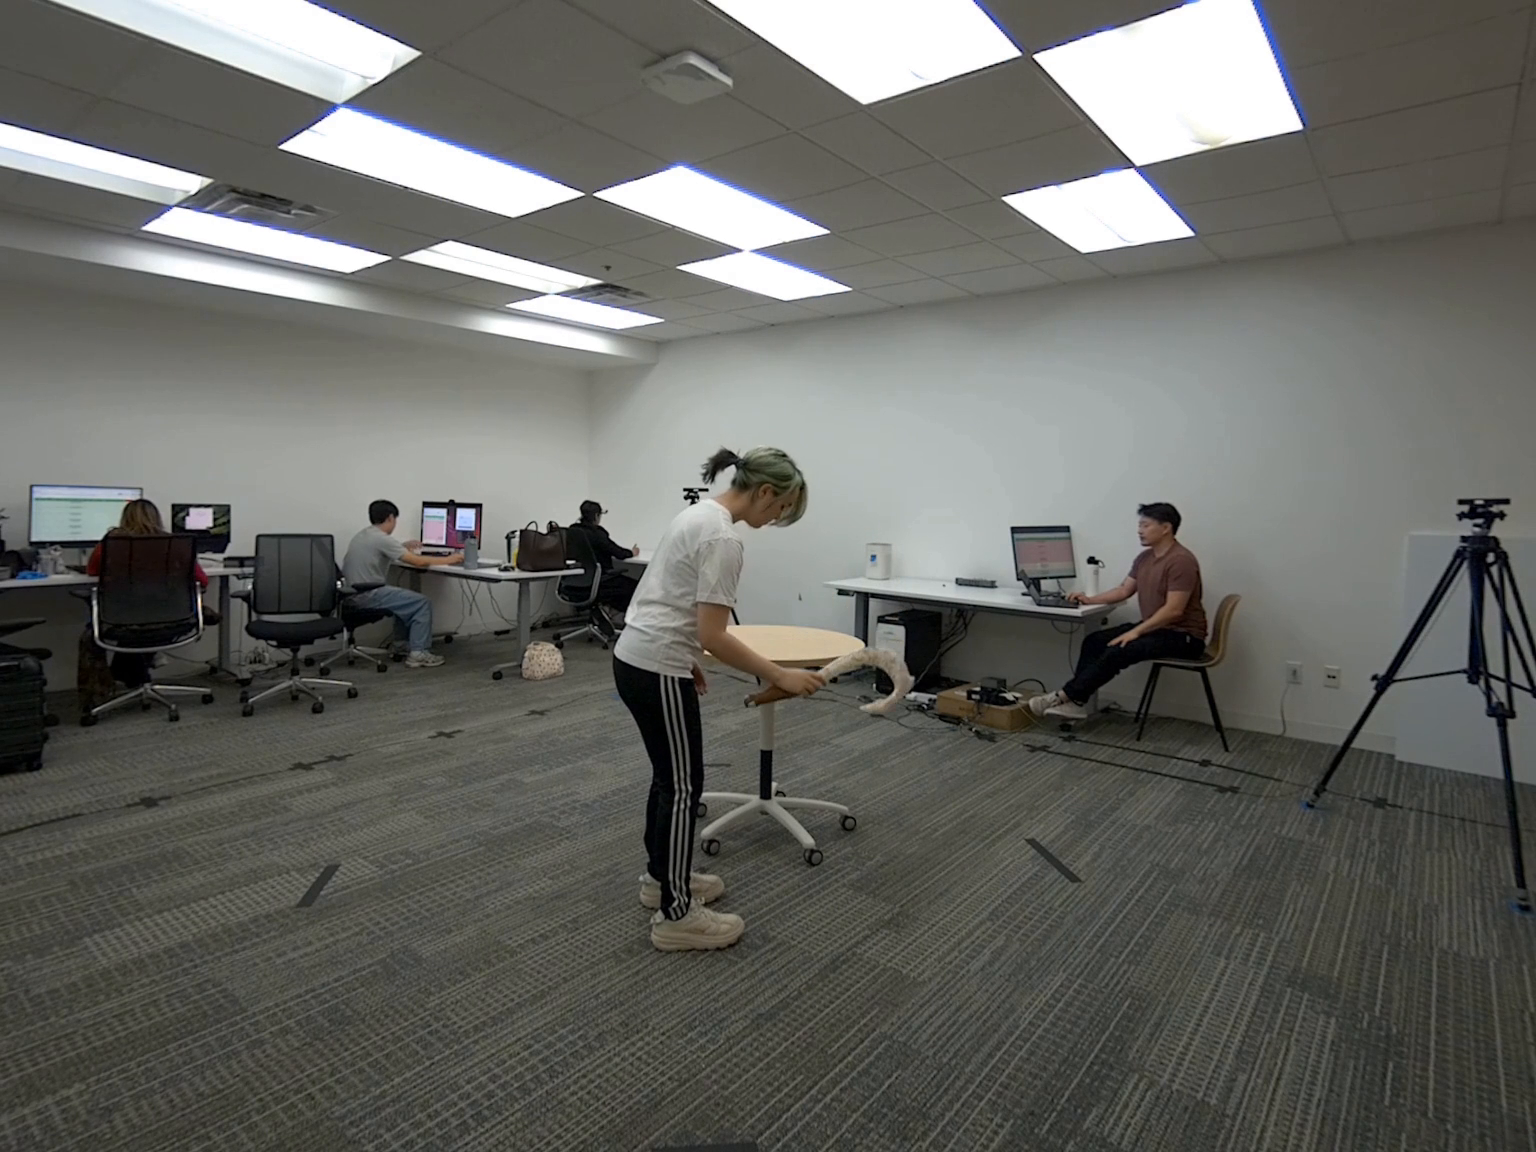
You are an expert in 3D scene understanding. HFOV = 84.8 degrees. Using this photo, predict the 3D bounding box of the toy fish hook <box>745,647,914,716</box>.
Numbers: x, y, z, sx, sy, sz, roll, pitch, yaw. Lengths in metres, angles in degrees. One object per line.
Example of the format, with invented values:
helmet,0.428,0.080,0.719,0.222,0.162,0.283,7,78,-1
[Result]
toy fish hook,0.178,0.354,2.510,0.503,0.047,0.234,-19,44,-9
